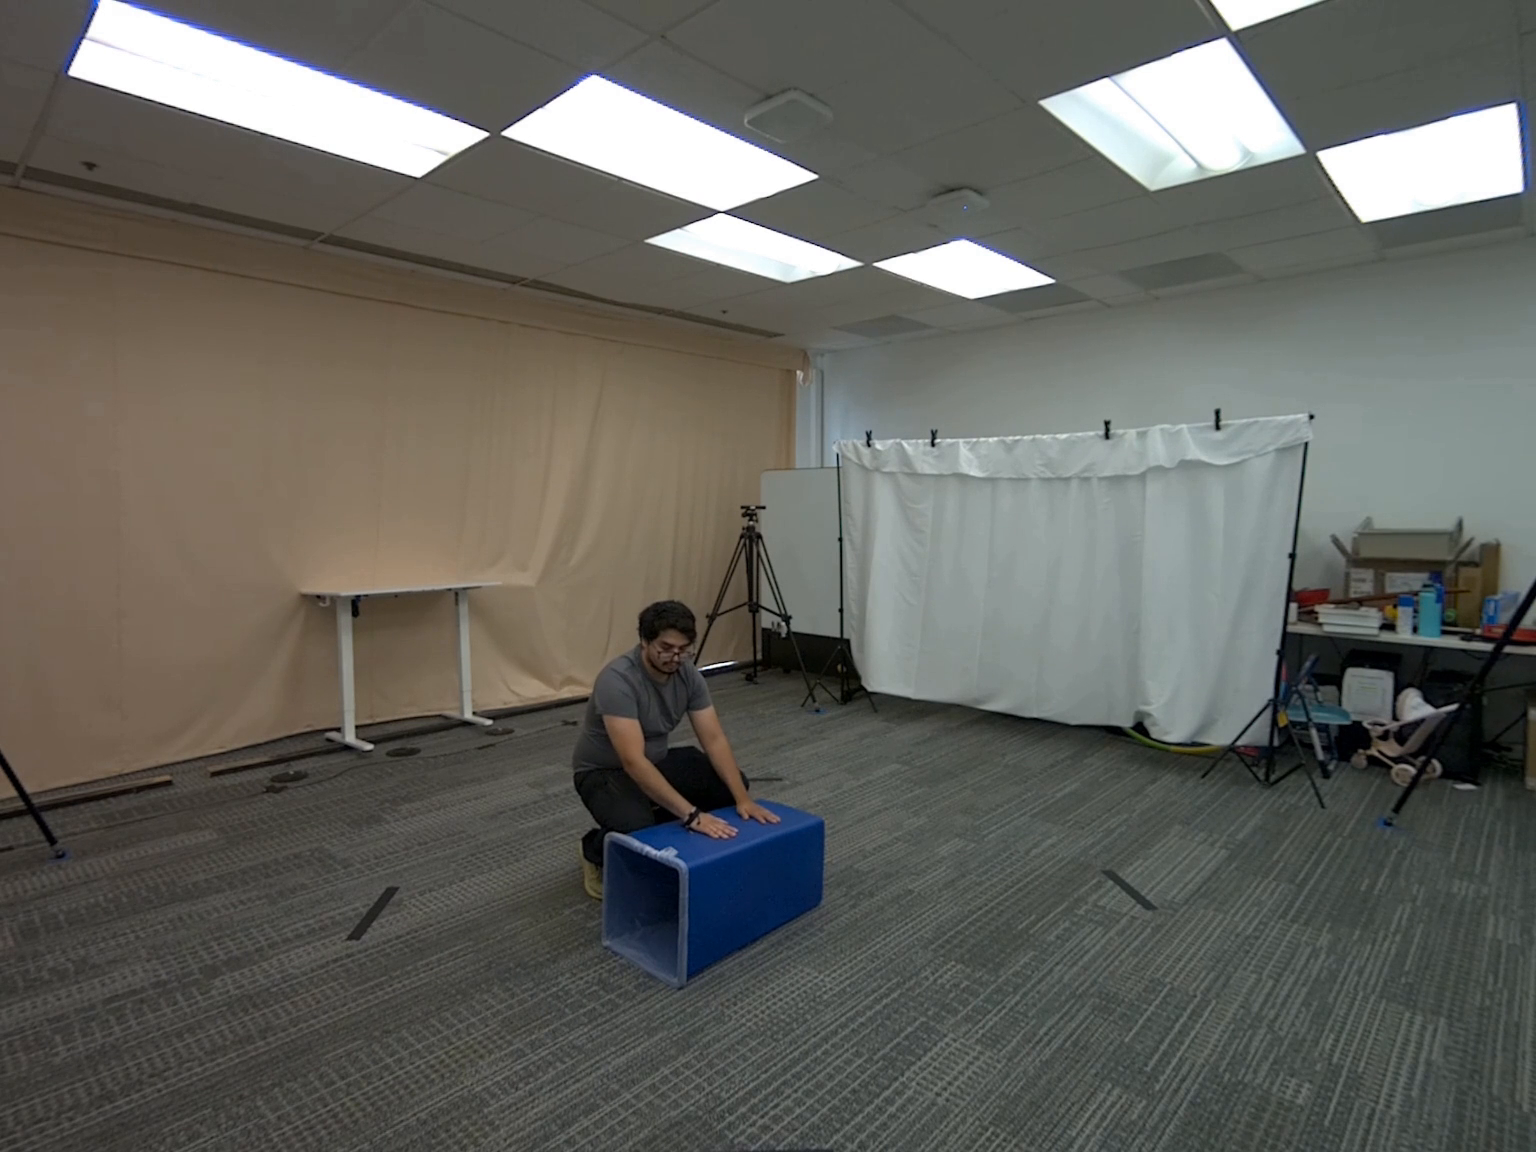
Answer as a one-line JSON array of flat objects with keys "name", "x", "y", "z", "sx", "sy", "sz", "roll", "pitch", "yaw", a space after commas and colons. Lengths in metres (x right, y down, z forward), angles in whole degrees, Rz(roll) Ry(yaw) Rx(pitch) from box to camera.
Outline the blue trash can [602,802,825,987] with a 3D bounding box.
[{"name": "blue trash can", "x": -0.141, "y": 0.990, "z": 2.784, "sx": 0.386, "sy": 0.377, "sz": 0.691, "roll": 3, "pitch": 3, "yaw": 43}]
